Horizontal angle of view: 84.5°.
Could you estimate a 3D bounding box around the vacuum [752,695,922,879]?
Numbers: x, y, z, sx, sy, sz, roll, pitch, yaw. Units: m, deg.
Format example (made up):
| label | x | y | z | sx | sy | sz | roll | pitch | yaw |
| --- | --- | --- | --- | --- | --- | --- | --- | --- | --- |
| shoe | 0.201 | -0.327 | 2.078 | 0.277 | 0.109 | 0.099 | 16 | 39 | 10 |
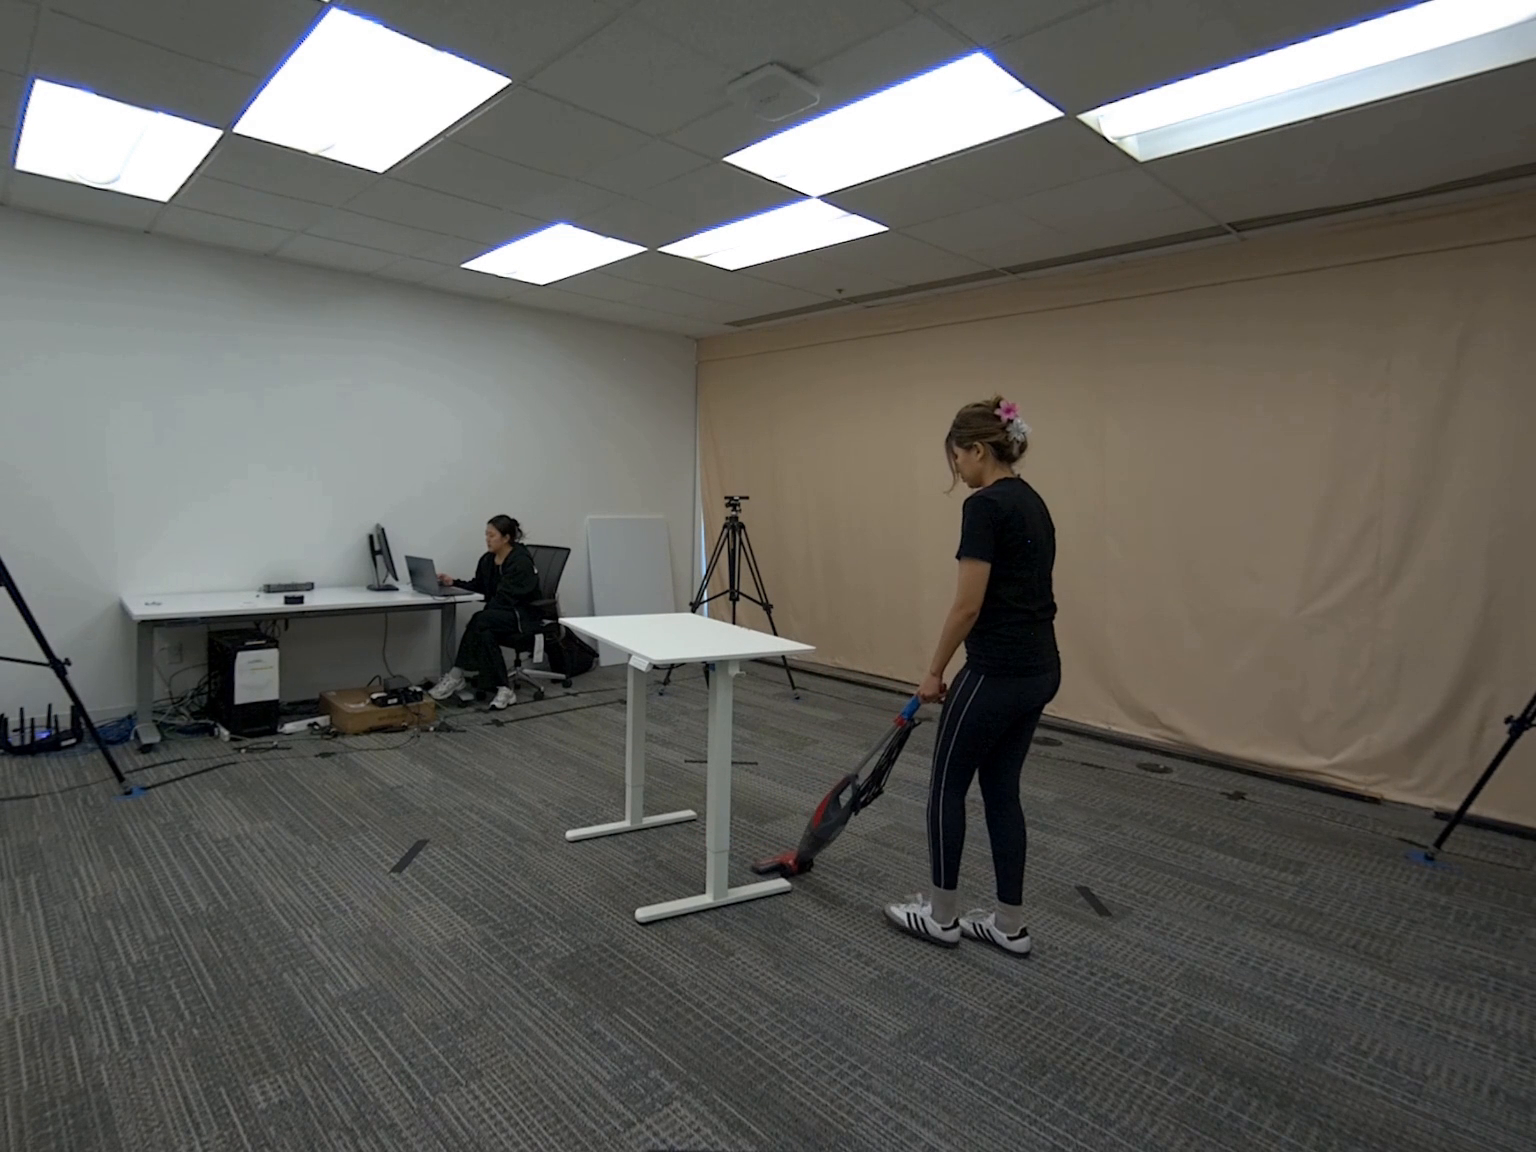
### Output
| label | x | y | z | sx | sy | sz | roll | pitch | yaw |
| --- | --- | --- | --- | --- | --- | --- | --- | --- | --- |
| vacuum | 0.293 | 0.739 | 2.903 | 0.247 | 1.044 | 0.147 | -9 | 53 | -46 |
